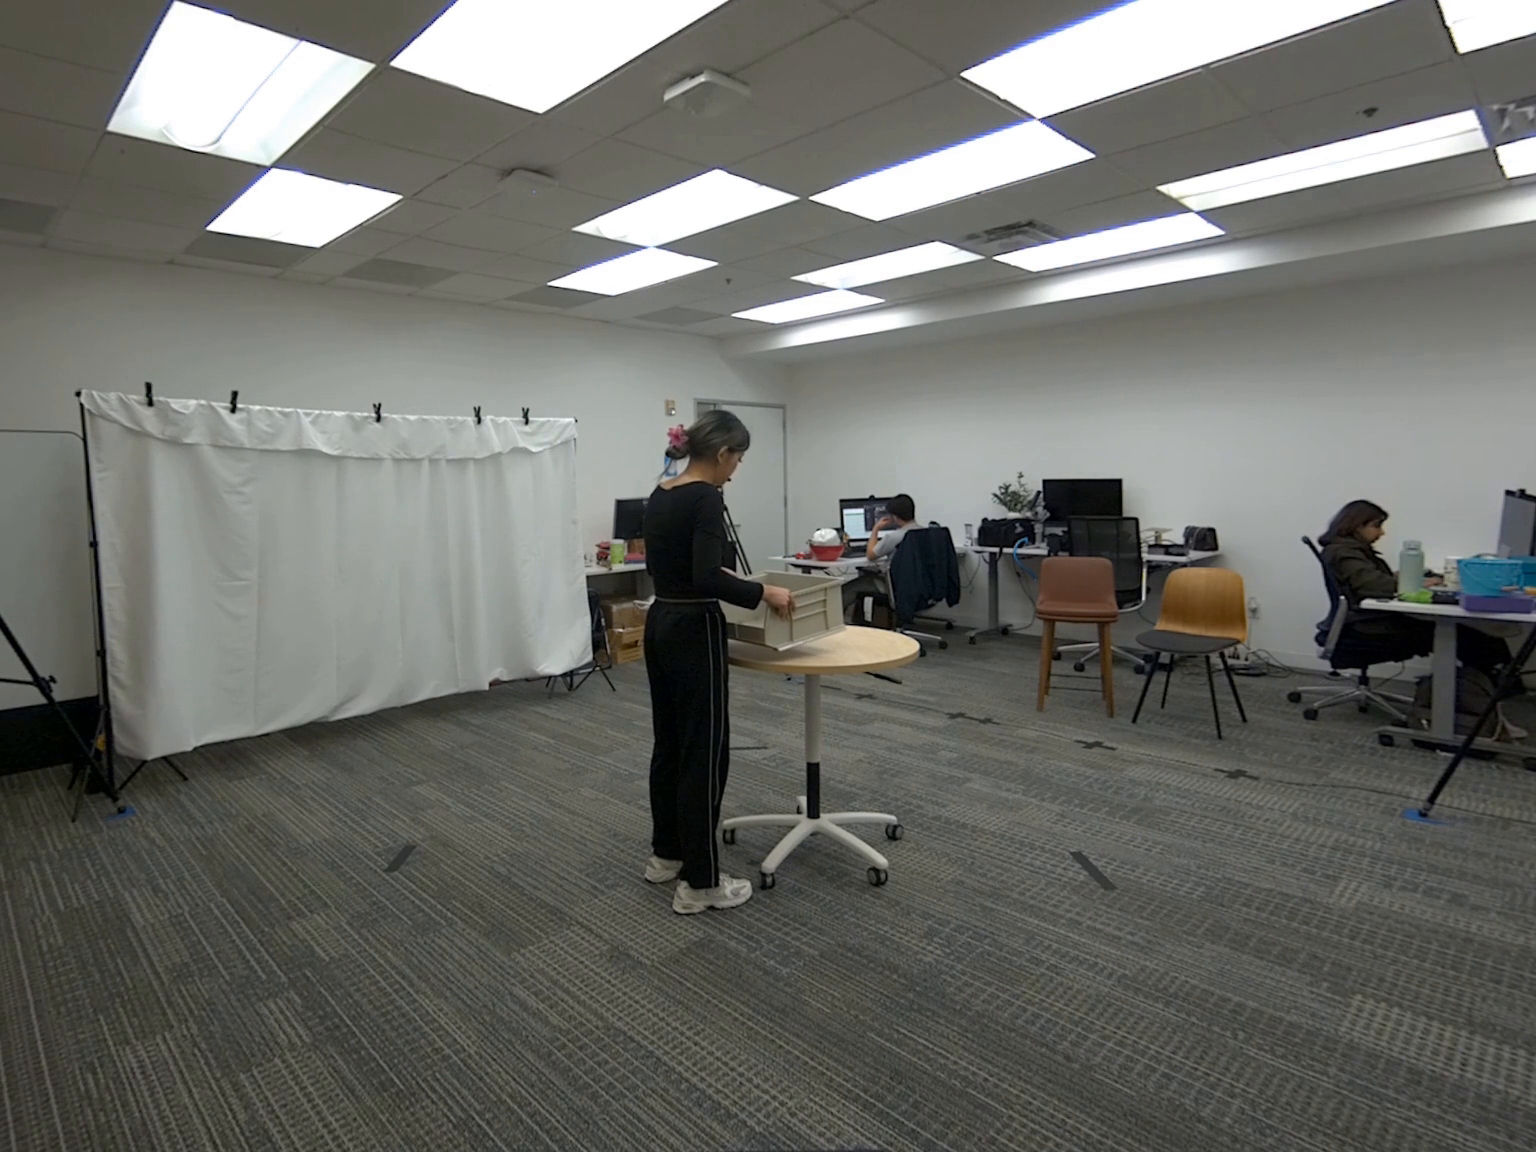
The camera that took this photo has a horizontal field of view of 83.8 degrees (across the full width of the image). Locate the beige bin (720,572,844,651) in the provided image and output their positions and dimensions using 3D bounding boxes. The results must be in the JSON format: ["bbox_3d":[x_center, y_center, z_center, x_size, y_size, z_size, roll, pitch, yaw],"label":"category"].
[{"bbox_3d":[-0.002,0.119,3.005,0.369,0.188,0.435,-11,10,-37],"label":"beige bin"}]
